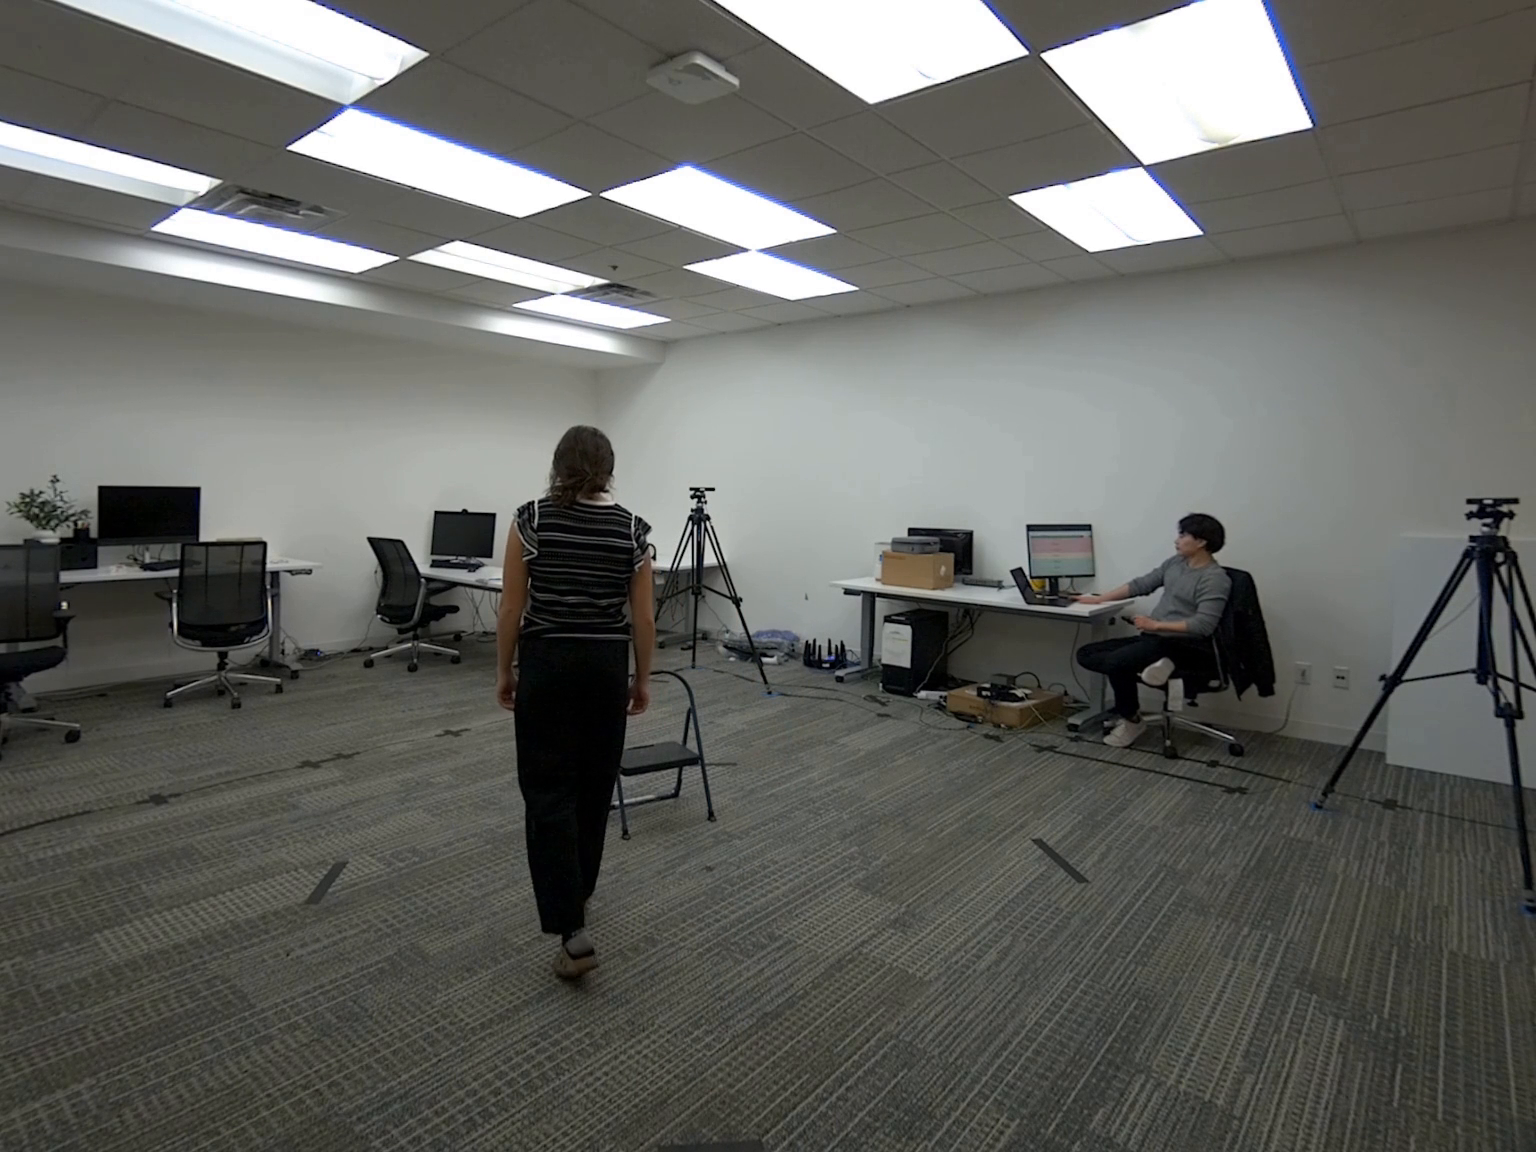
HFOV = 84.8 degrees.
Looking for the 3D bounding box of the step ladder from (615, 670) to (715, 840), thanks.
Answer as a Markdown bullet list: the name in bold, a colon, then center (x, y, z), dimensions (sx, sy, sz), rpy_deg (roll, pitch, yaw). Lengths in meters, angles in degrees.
- **step ladder**: center (-0.490, 0.712, 3.593), dimensions (0.418, 0.605, 0.360), rpy_deg (-1, 3, -33)
